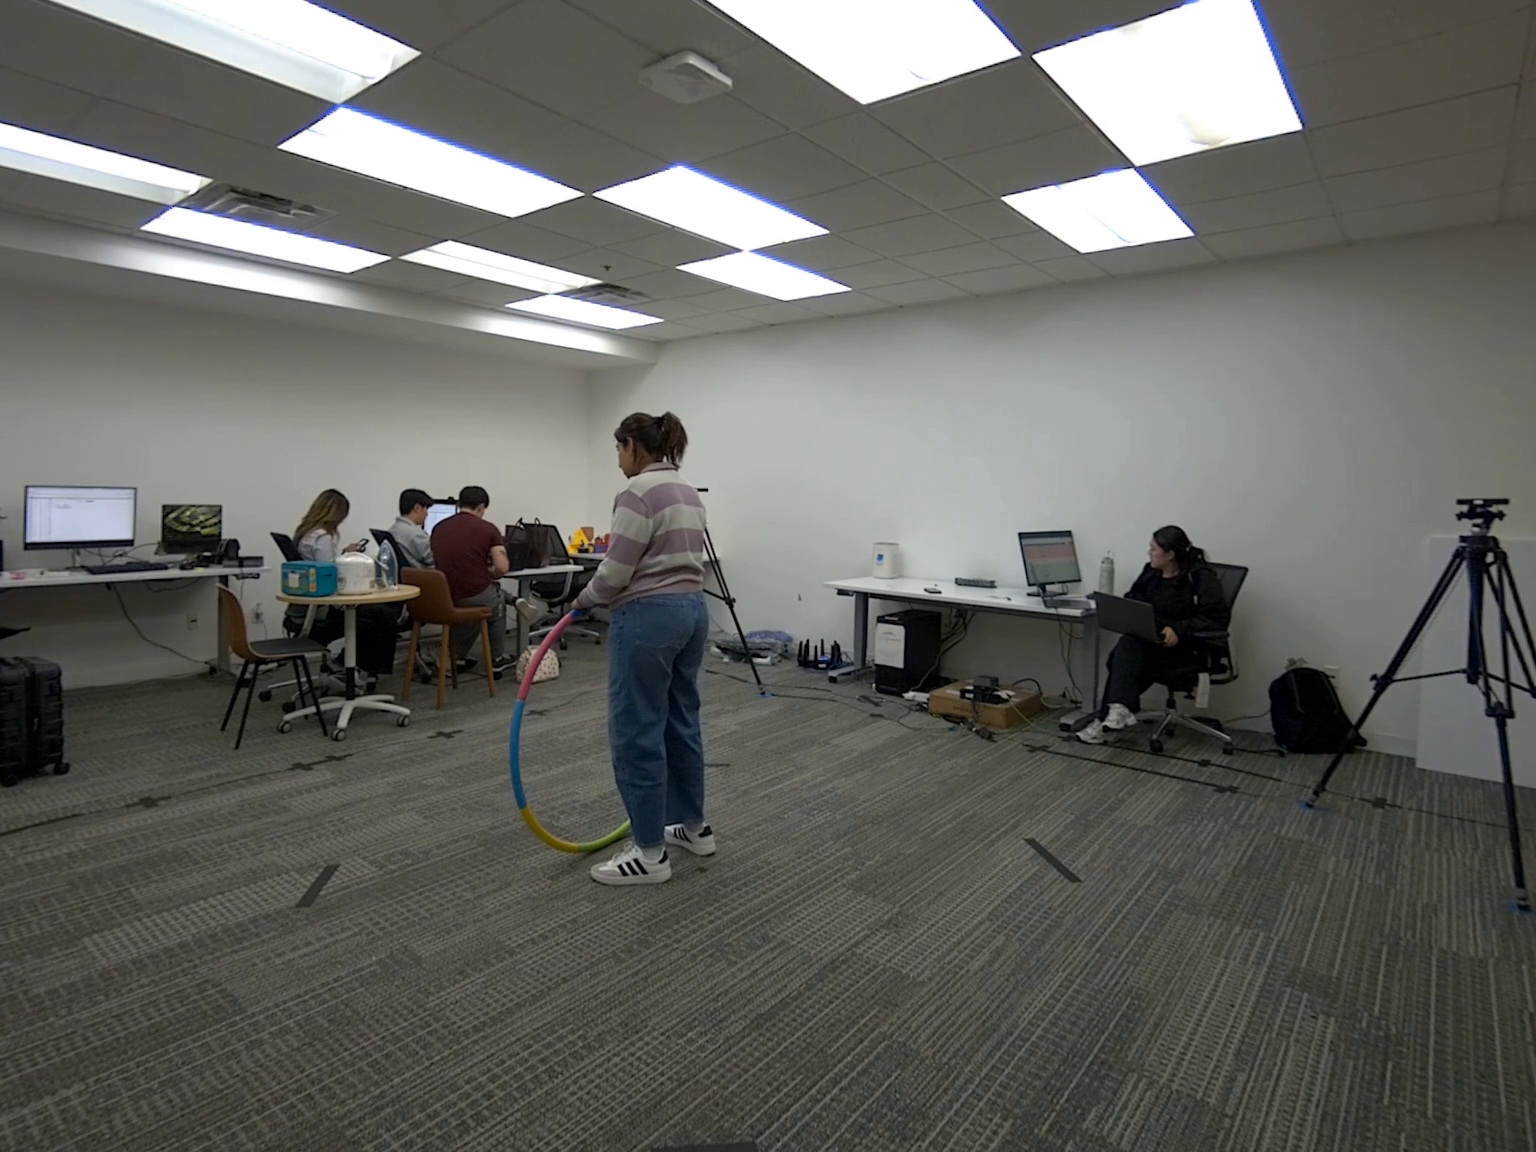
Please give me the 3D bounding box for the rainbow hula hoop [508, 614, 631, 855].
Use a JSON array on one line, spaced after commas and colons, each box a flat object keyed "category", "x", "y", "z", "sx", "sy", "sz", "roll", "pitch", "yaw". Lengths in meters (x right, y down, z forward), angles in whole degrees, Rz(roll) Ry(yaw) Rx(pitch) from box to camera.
[{"category": "rainbow hula hoop", "x": -0.640, "y": 0.563, "z": 3.287, "sx": 0.053, "sy": 0.983, "sz": 0.959, "roll": 1, "pitch": 3, "yaw": 31}]
